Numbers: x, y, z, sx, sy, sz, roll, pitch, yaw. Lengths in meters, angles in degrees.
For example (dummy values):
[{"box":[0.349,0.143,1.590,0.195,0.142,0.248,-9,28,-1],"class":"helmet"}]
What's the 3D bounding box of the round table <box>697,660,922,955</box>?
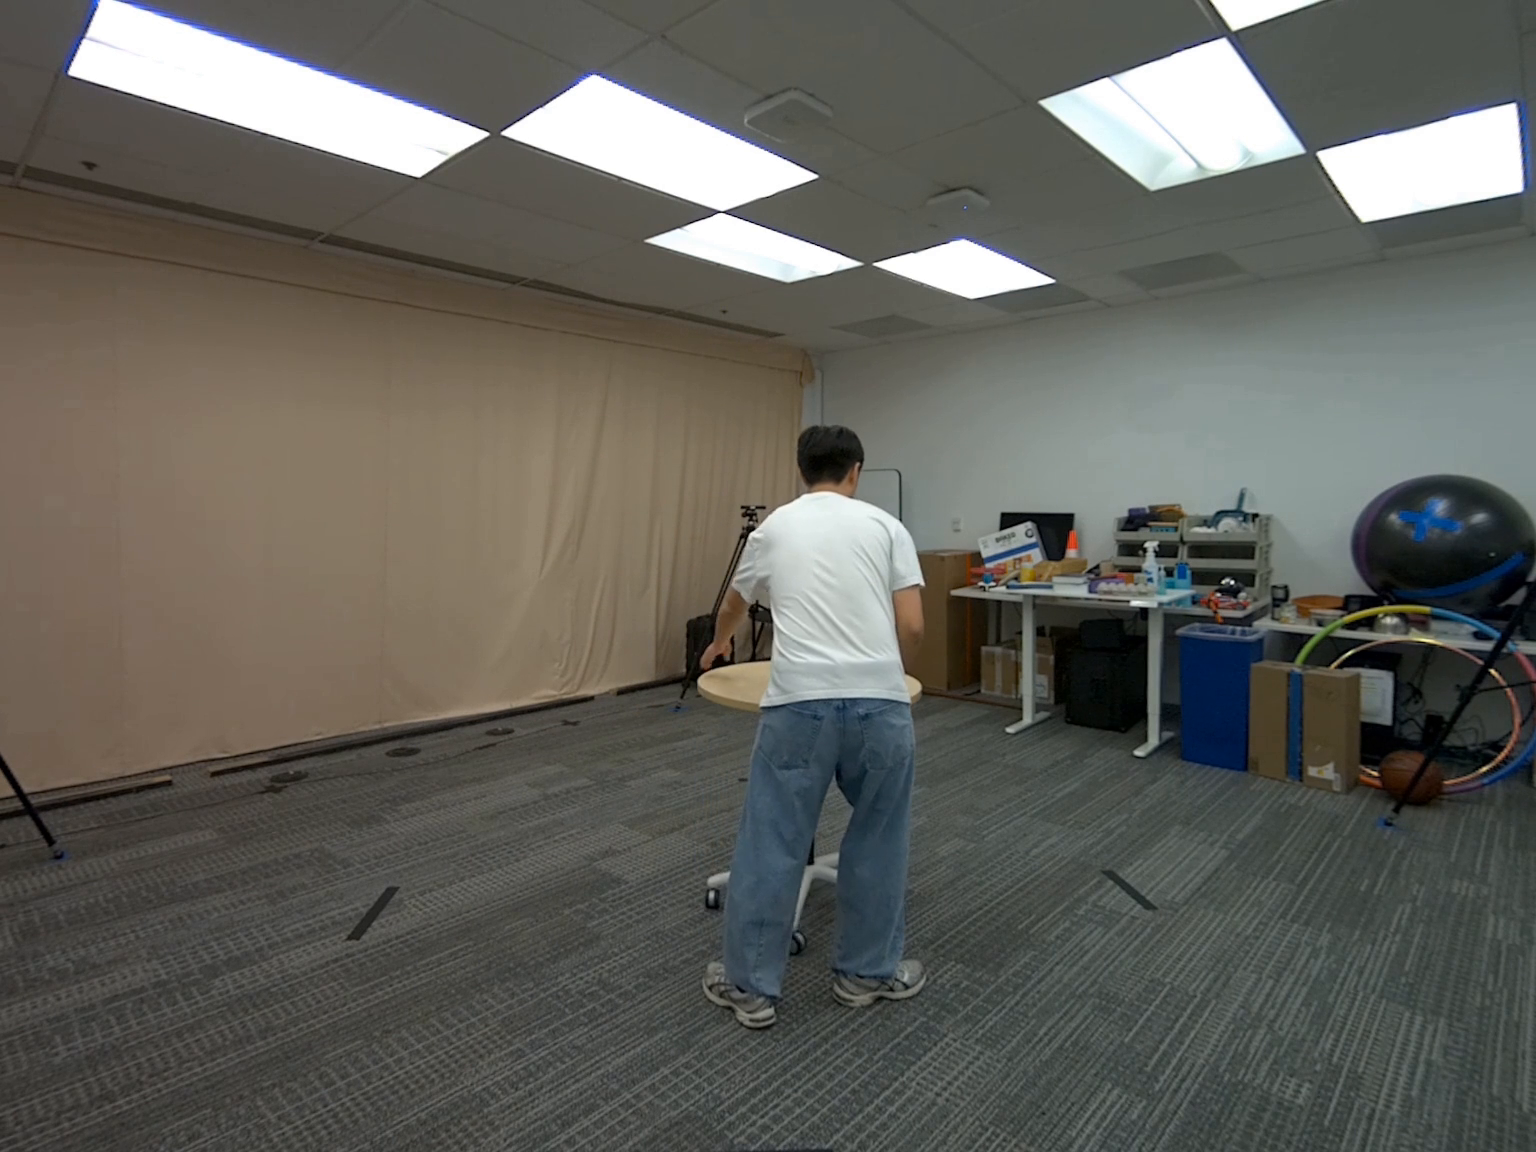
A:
[{"box":[0.149,0.753,2.921,0.784,0.784,0.788,0,4,-2],"class":"round table"}]
